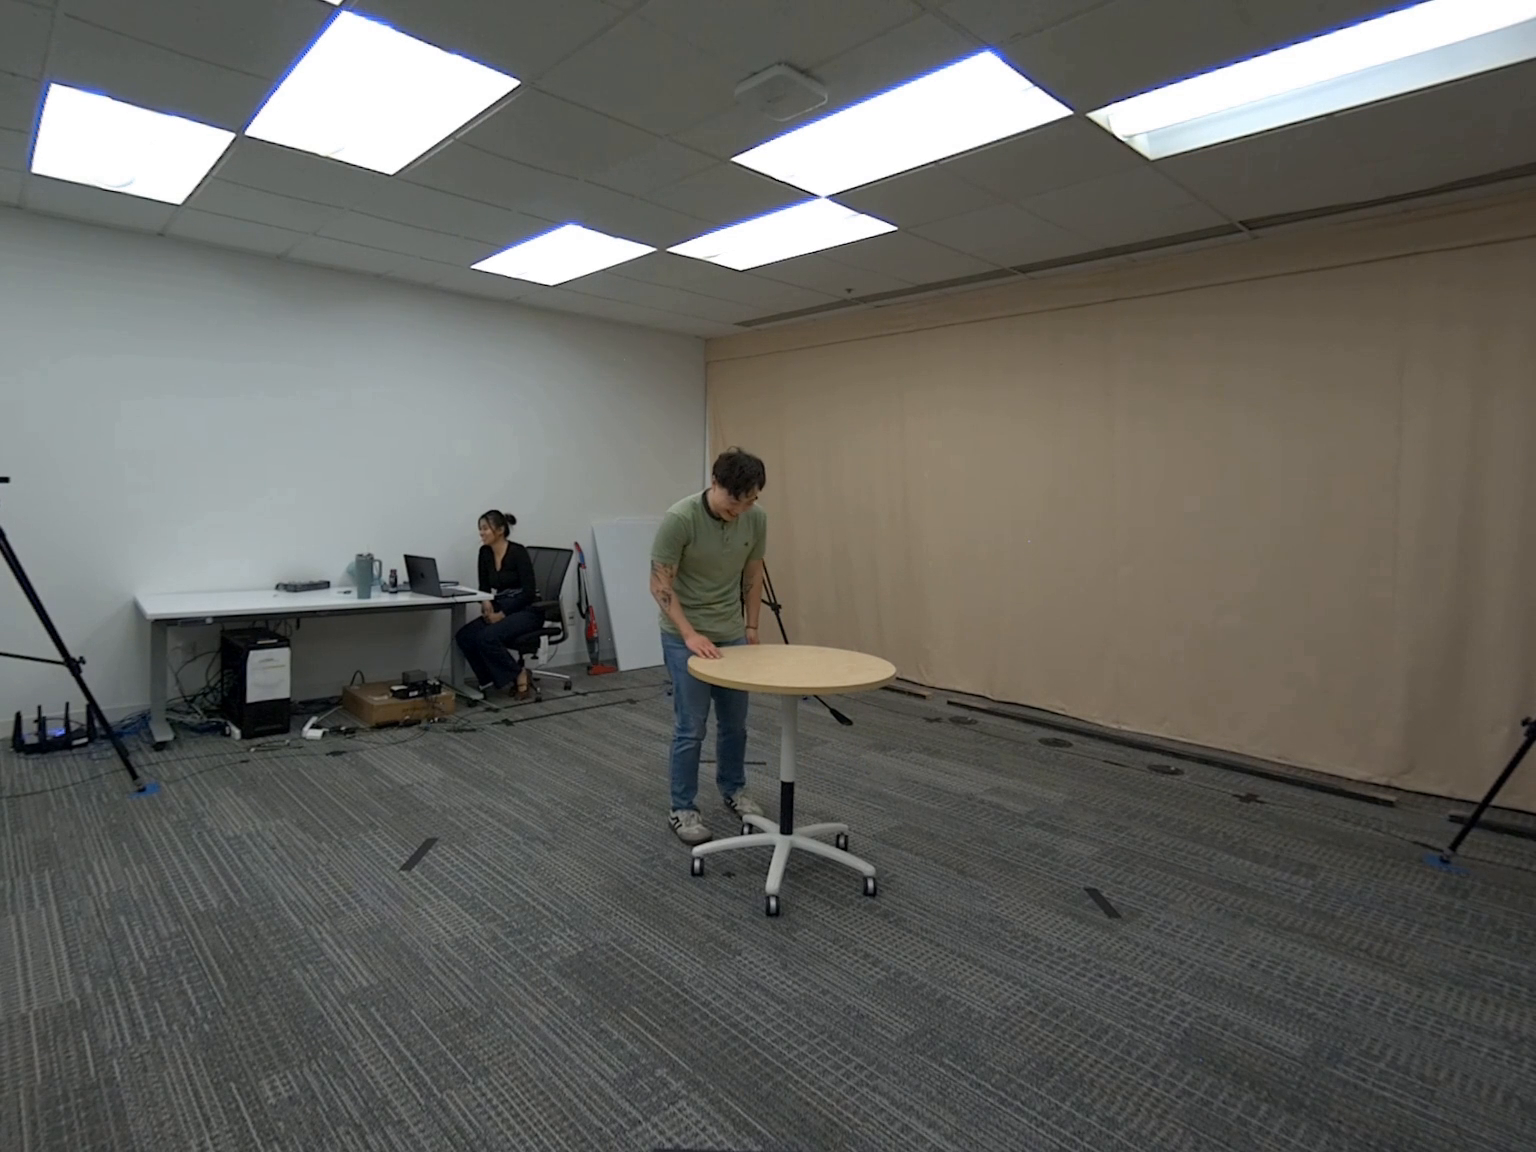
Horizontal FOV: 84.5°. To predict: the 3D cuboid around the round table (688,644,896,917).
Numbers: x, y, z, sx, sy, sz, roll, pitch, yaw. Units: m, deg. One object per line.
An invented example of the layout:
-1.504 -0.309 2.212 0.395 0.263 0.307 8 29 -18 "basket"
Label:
0.072 0.717 3.131 0.763 0.792 0.767 1 4 -1 "round table"
